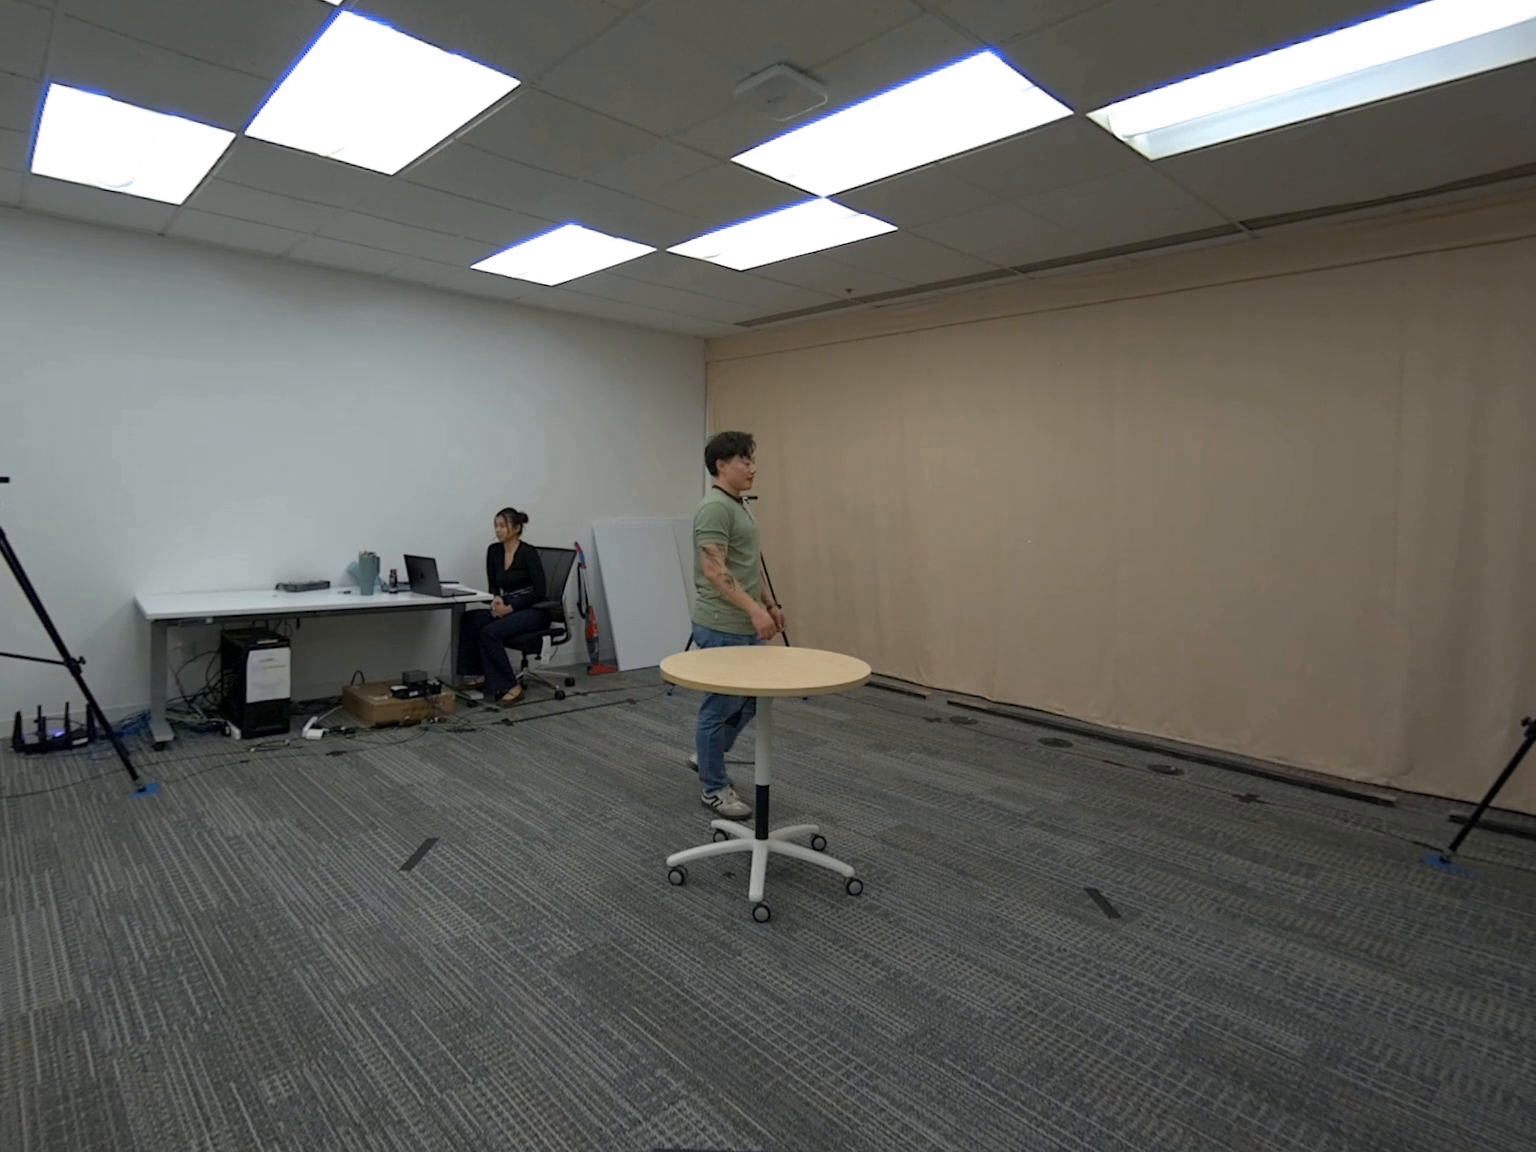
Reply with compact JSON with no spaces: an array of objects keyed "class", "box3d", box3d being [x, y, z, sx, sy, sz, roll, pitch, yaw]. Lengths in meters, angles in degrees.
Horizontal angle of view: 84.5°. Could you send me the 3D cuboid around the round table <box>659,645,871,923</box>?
[{"class":"round table","box3d":[-0.025,0.718,3.081,0.763,0.792,0.766,1,4,-1]}]
